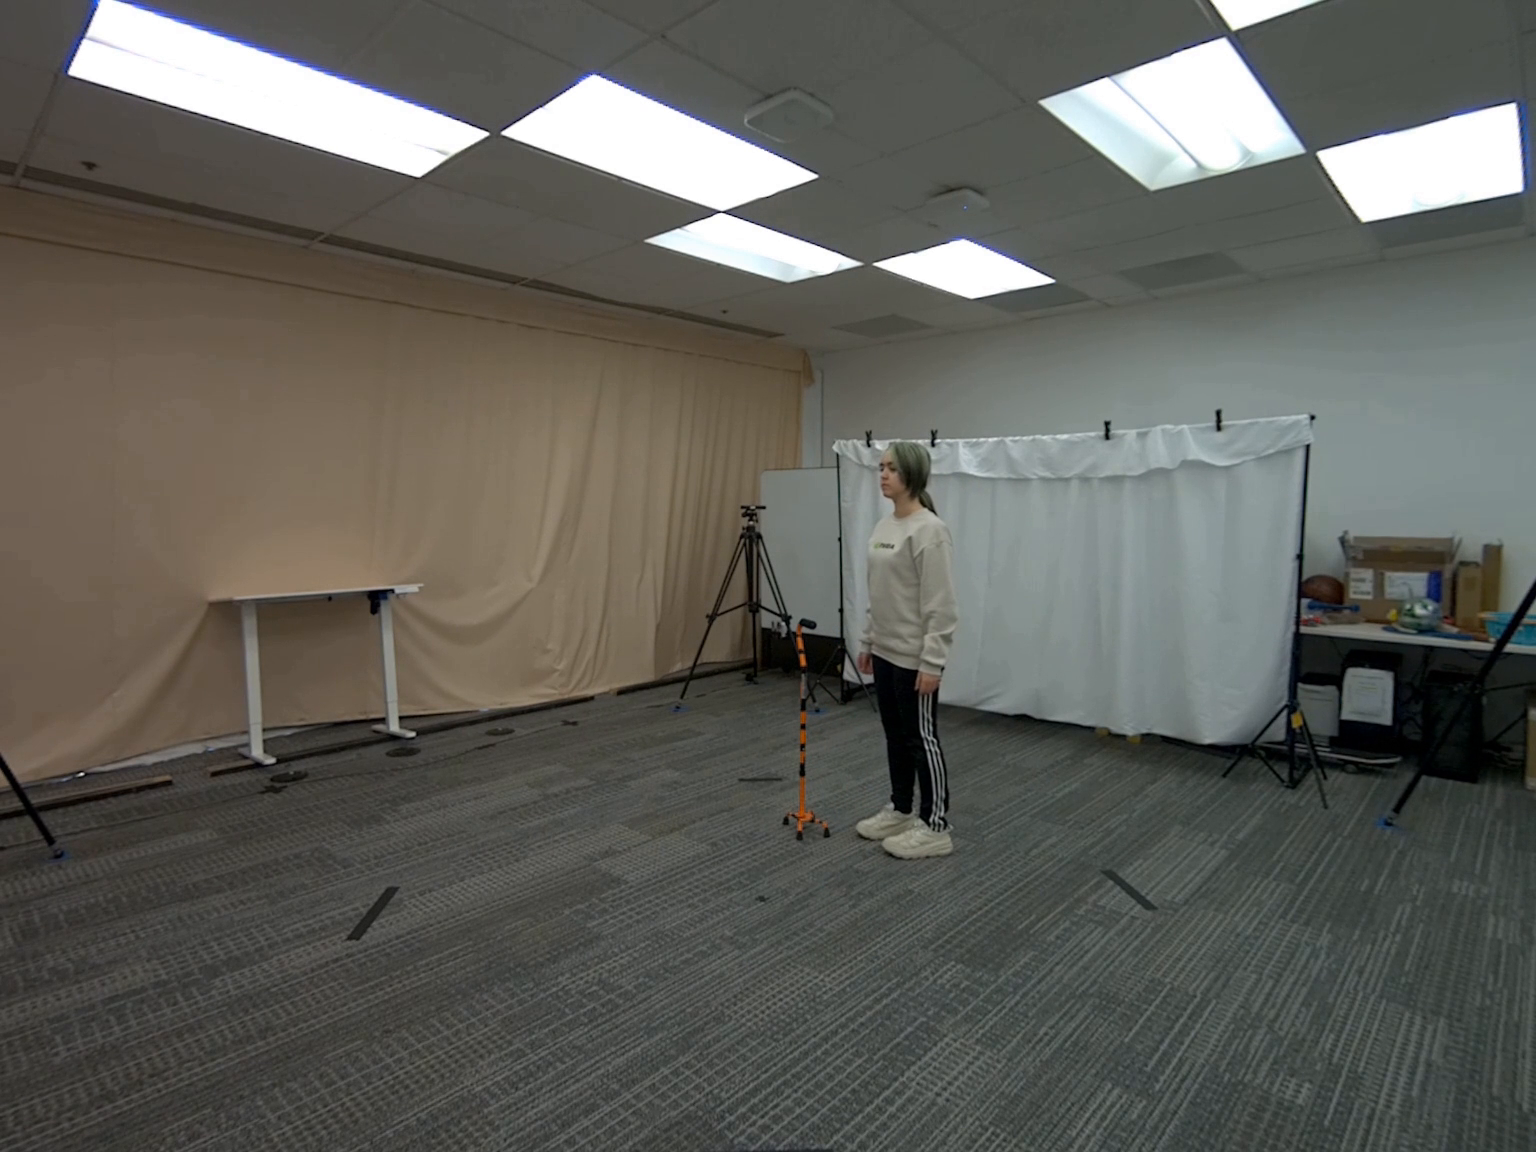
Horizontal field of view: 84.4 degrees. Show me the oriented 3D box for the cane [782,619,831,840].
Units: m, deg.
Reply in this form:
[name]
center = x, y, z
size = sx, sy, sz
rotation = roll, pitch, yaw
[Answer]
[cane]
center = 0.169, 0.641, 3.588
size = 0.149, 0.906, 0.210
rotation = 0, 3, -18
